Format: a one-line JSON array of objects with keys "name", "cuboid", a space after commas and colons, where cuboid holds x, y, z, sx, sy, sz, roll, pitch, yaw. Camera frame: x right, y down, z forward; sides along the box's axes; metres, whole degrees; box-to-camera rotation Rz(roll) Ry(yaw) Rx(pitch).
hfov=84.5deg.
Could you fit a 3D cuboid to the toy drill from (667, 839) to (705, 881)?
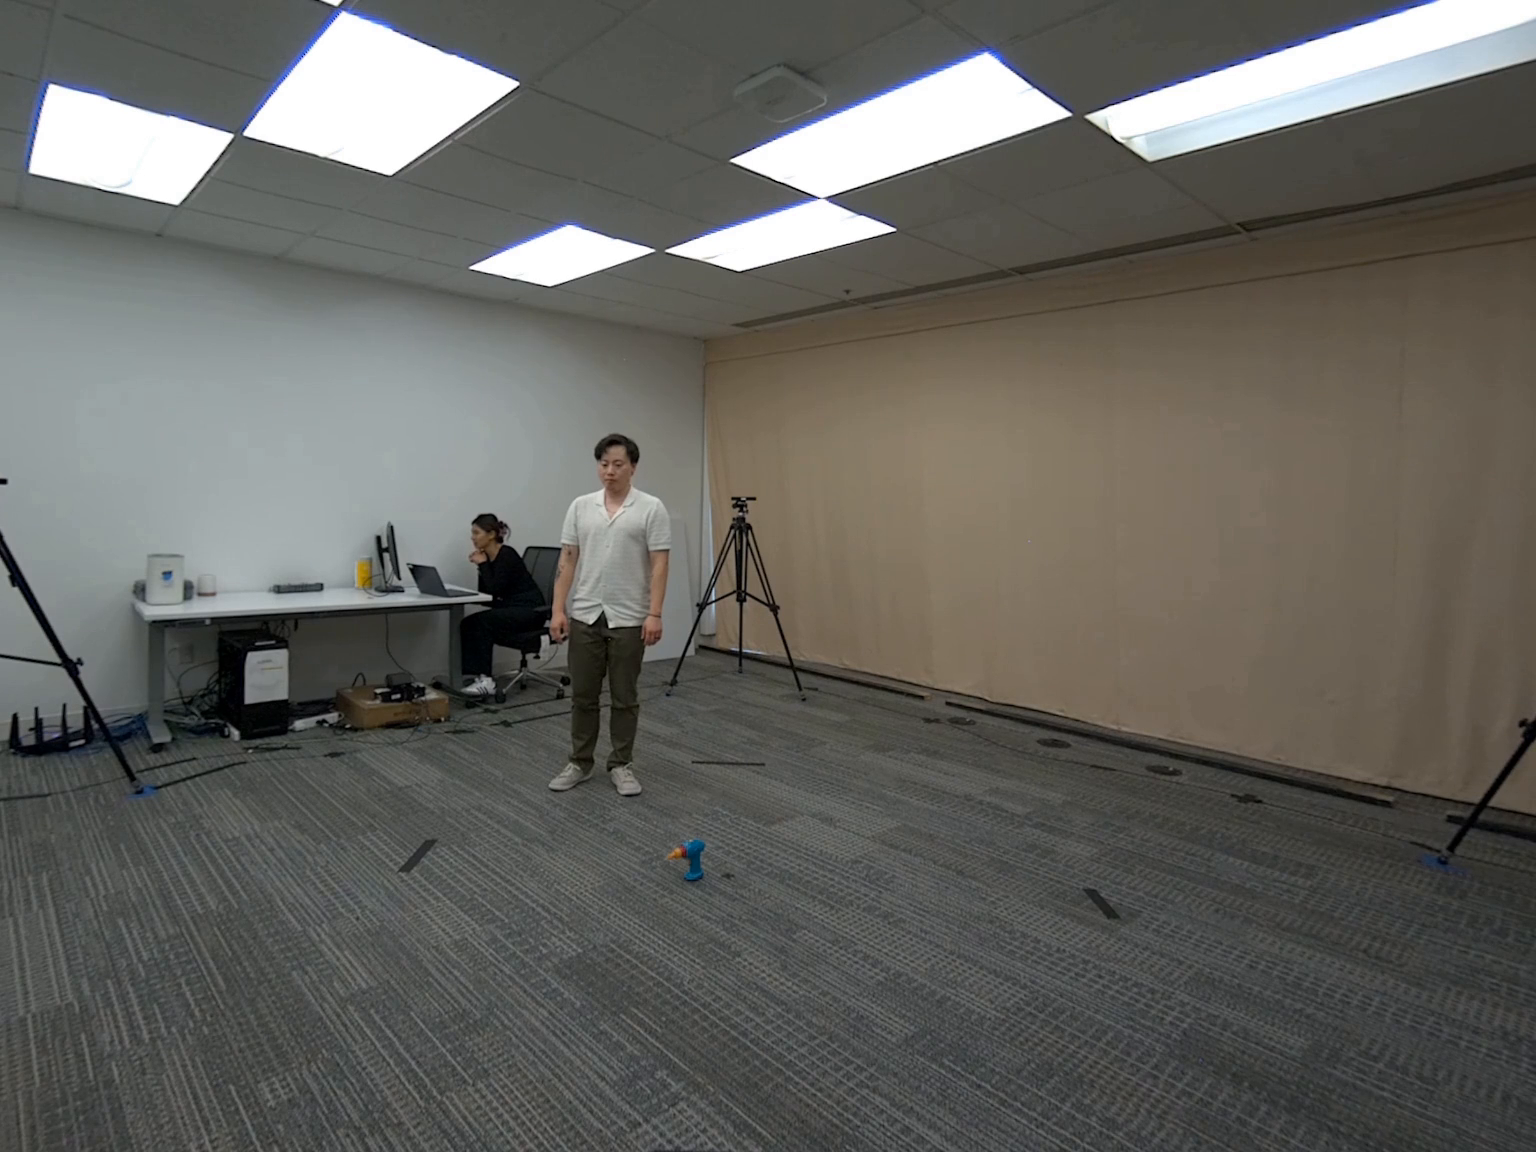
[{"name": "toy drill", "cuboid": [-0.305, 1.040, 3.049, 0.166, 0.145, 0.063, -6, 7, -44]}]
